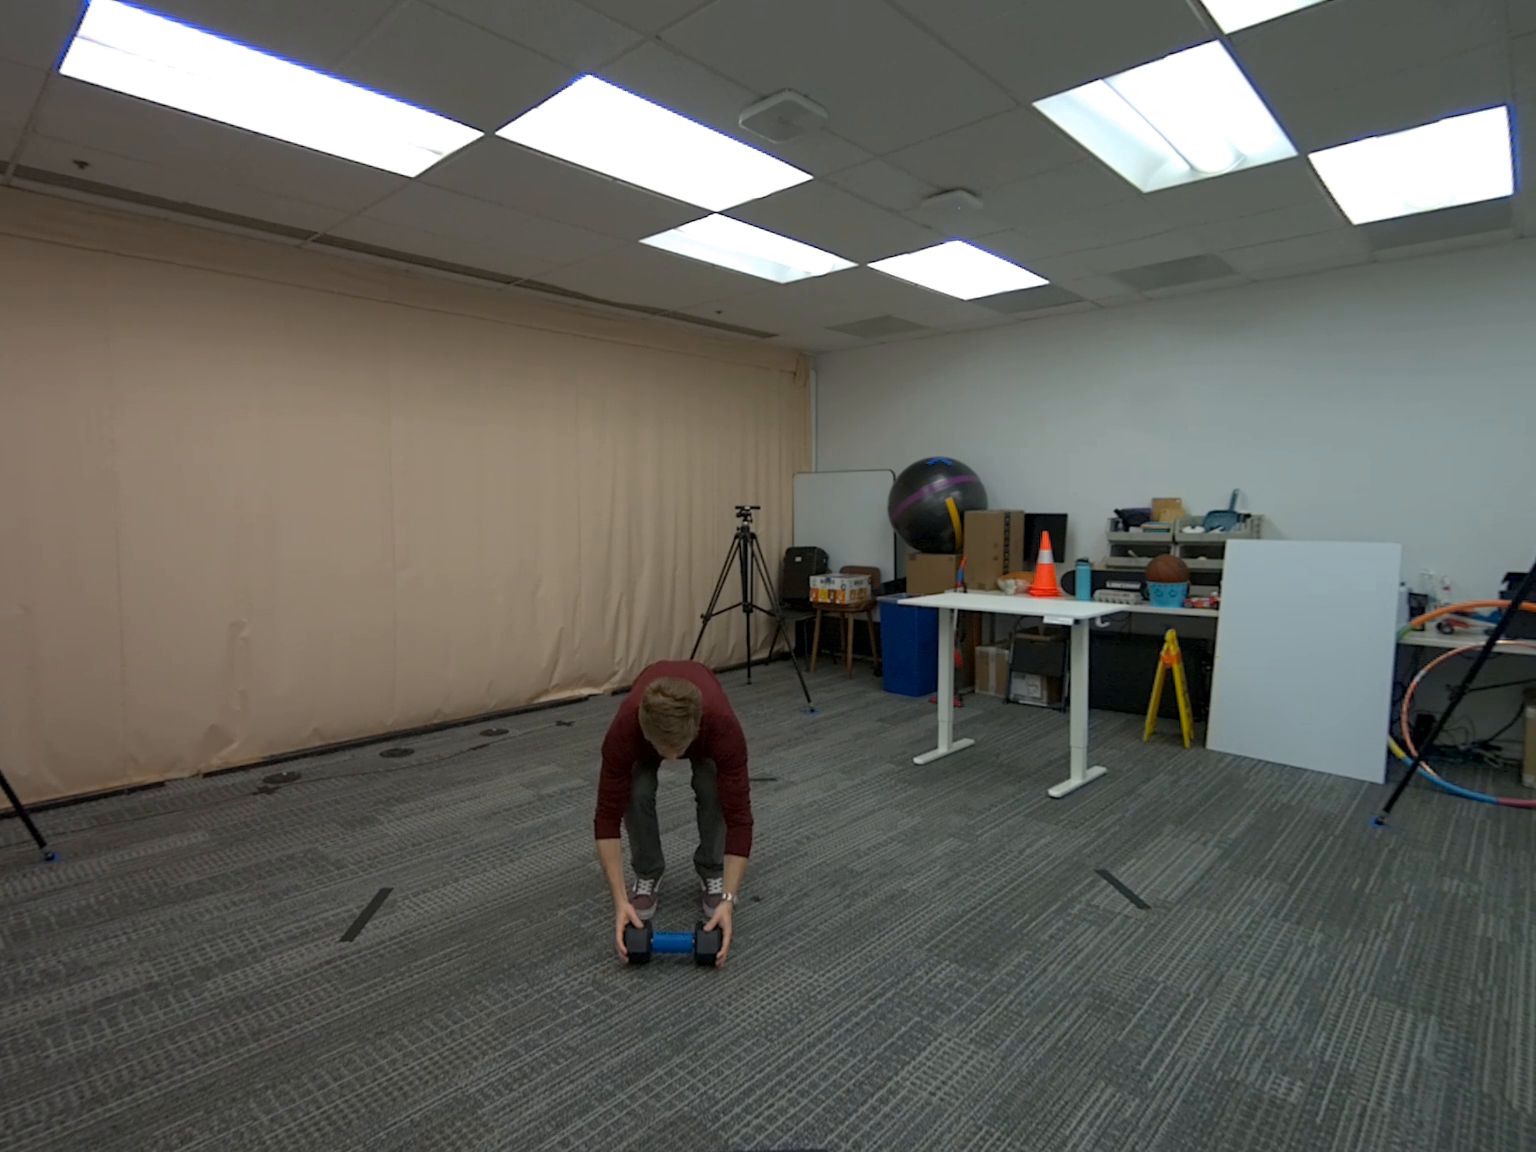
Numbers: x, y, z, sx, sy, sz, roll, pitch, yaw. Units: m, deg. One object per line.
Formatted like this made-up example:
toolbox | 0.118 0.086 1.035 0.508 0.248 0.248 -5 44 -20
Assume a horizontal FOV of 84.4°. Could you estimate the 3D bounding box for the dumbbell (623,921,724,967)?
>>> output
dumbbell | -0.284 1.117 2.552 0.294 0.108 0.123 2 3 3
